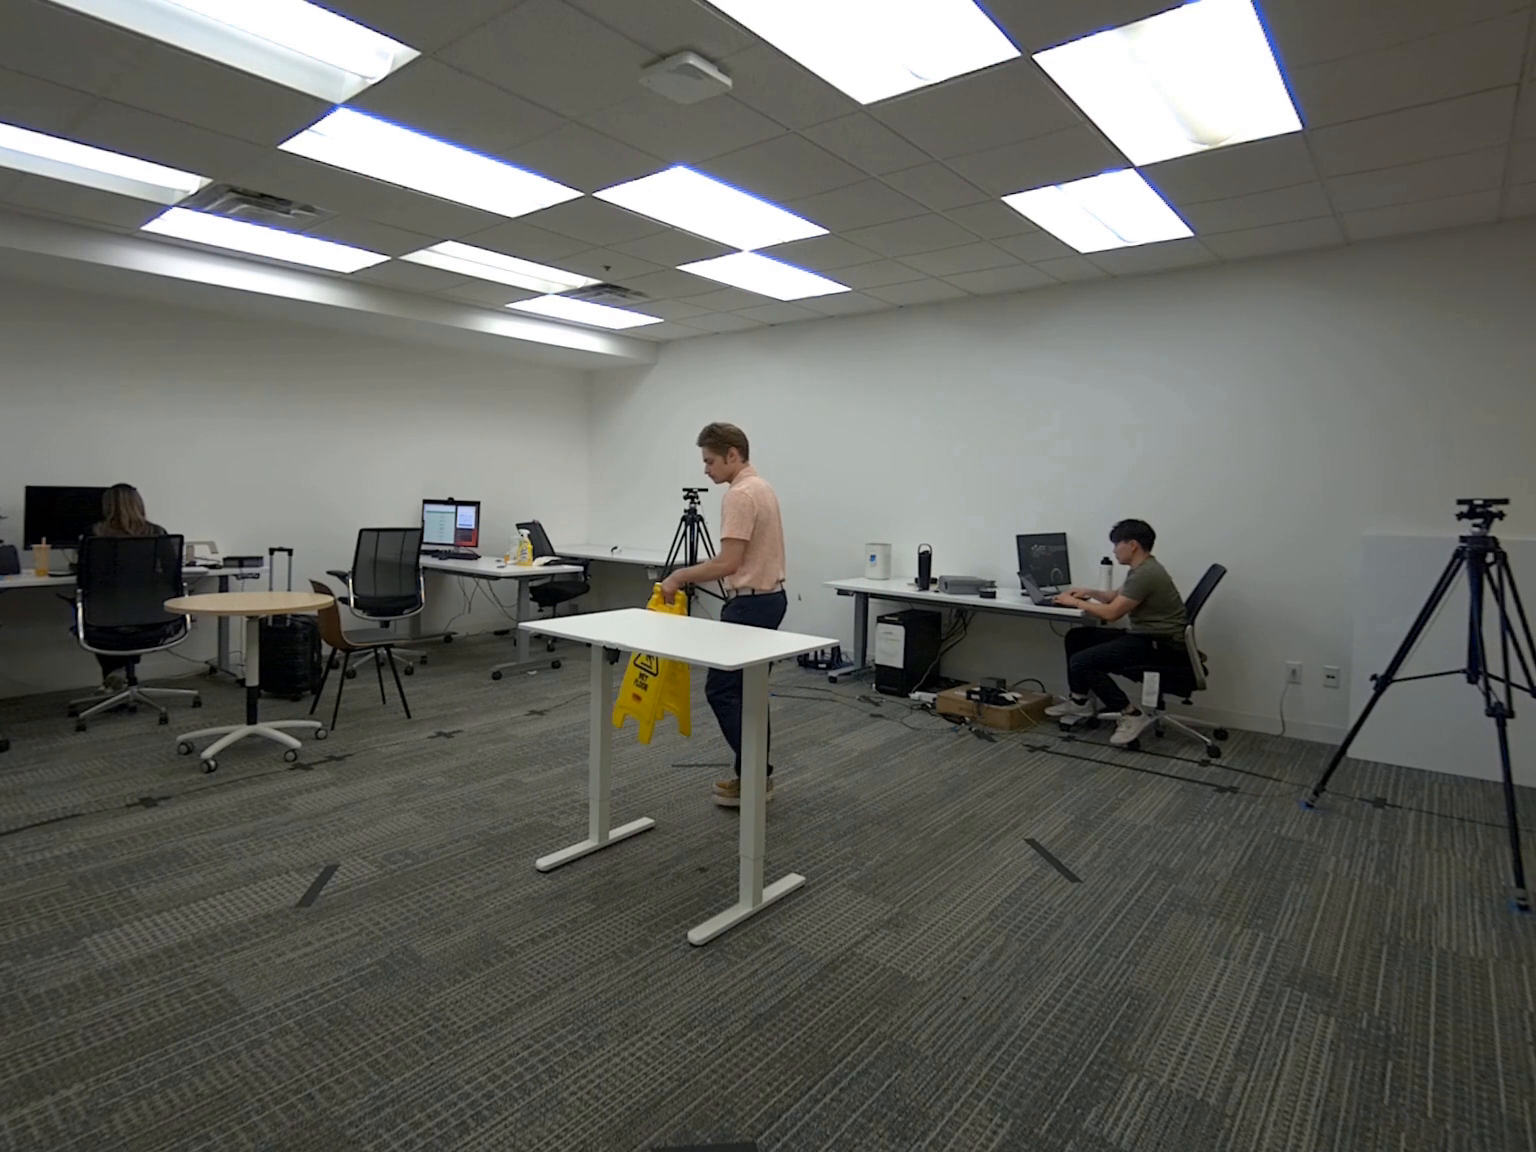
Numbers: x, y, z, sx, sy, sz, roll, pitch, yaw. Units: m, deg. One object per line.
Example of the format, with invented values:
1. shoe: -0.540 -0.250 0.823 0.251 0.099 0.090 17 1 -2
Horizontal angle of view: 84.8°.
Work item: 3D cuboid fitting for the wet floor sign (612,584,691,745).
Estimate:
1. wet floor sign: -0.485 0.366 3.735 0.280 0.643 0.293 3 9 -45
